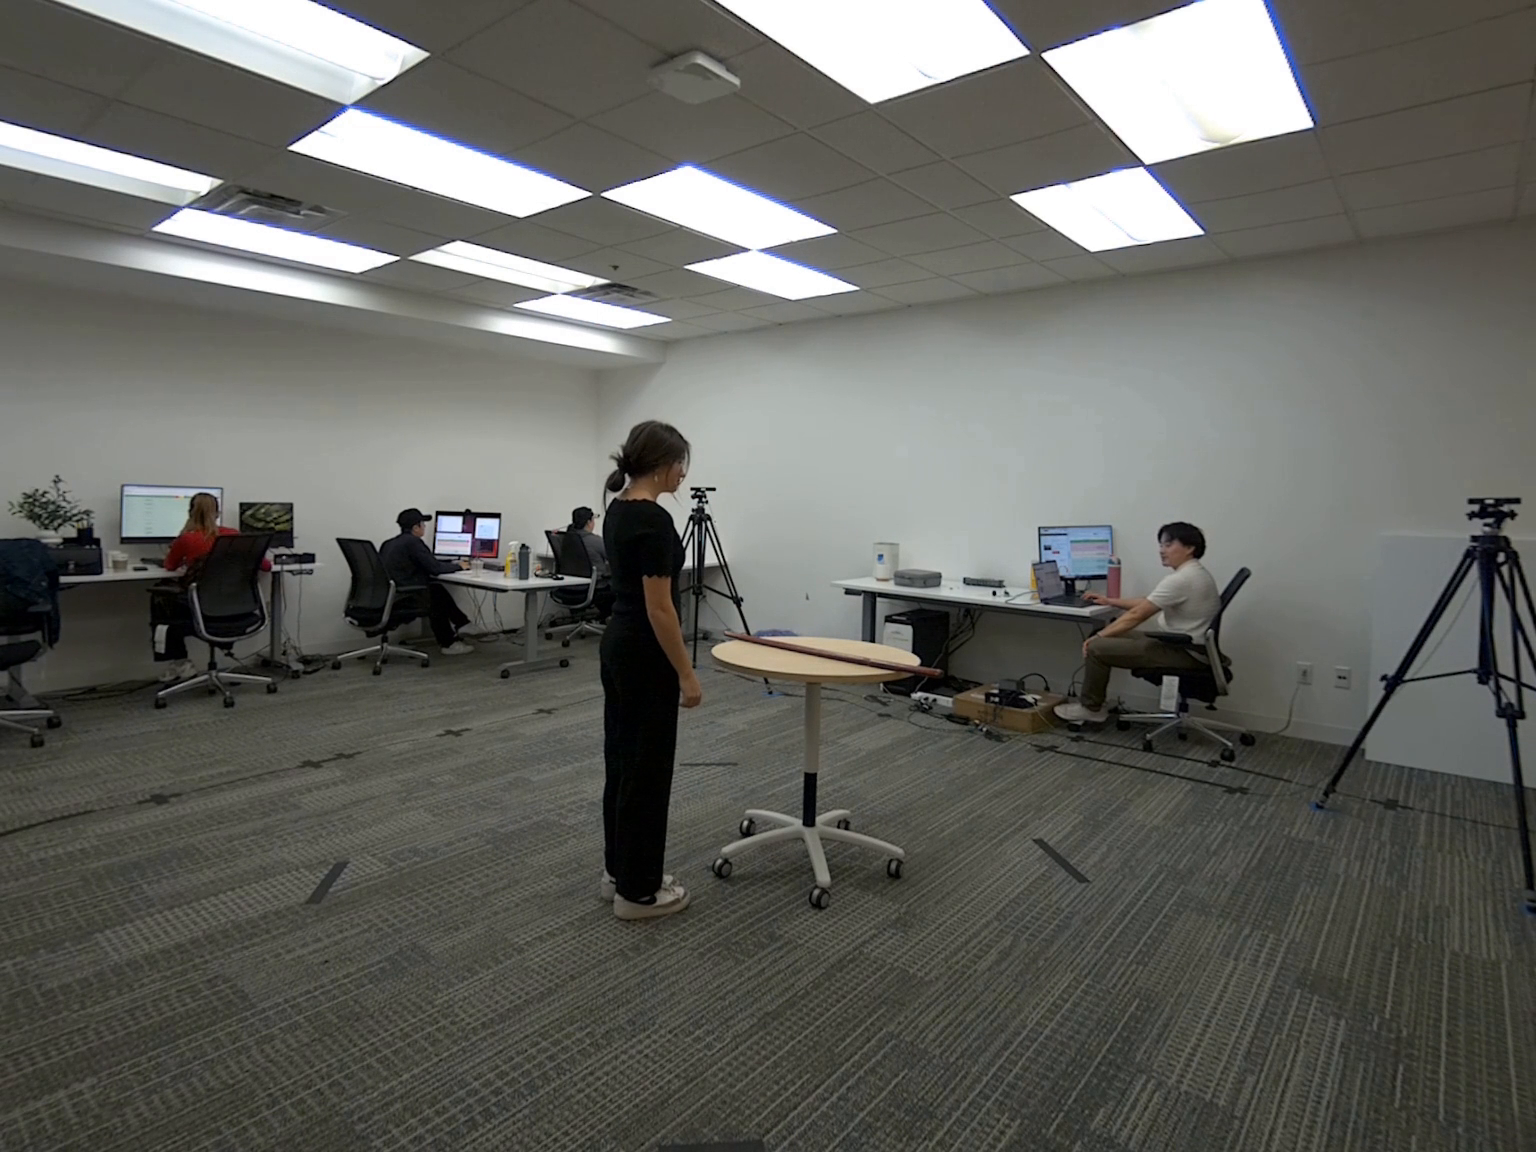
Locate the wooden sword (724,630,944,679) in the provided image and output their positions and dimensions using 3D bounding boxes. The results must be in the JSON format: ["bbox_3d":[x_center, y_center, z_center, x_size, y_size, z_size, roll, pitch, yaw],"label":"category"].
[{"bbox_3d":[0.181,0.288,3.089,1.060,0.051,0.023,5,-6,41],"label":"wooden sword"}]
